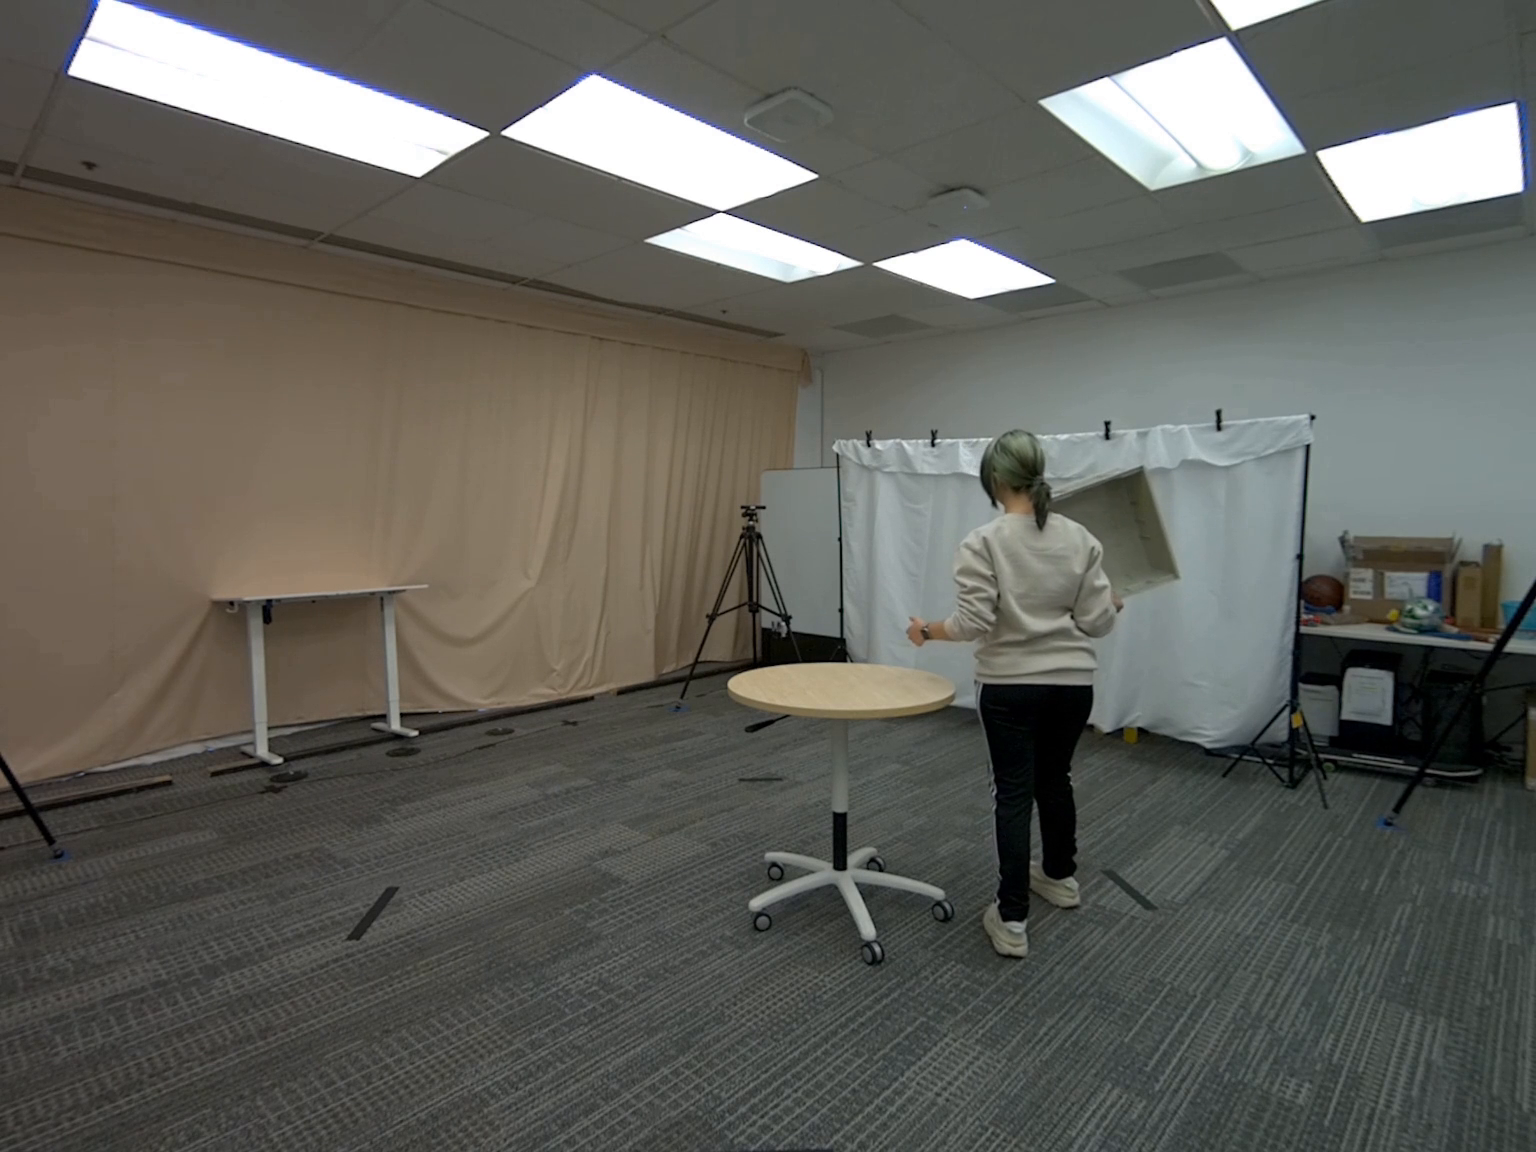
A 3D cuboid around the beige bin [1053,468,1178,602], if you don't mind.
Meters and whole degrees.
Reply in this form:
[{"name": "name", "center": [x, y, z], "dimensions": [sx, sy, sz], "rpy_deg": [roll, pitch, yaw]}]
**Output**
[{"name": "beige bin", "center": [1.189, -0.133, 2.995], "dimensions": [0.378, 0.420, 0.189], "rpy_deg": [-19, 5, 2]}]
